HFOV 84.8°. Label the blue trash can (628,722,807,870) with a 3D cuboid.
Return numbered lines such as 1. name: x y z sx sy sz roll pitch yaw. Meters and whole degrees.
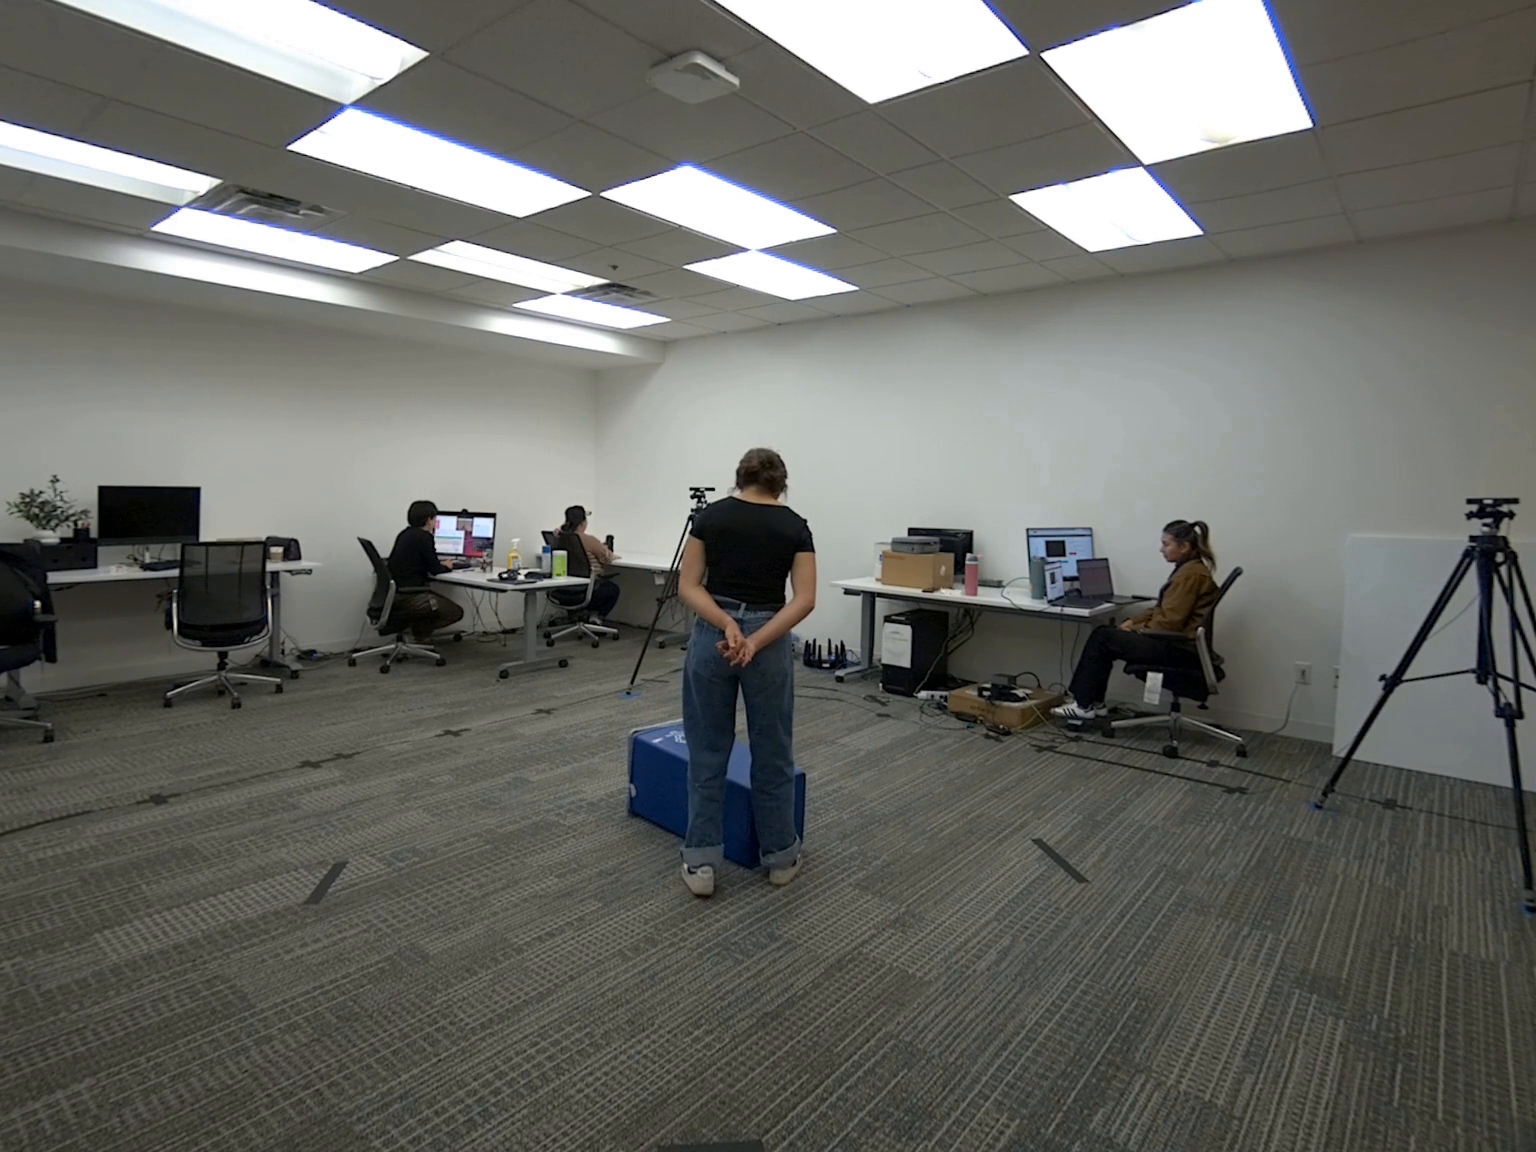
1. blue trash can: -0.228 0.865 3.450 0.363 0.376 0.739 -3 9 -45
